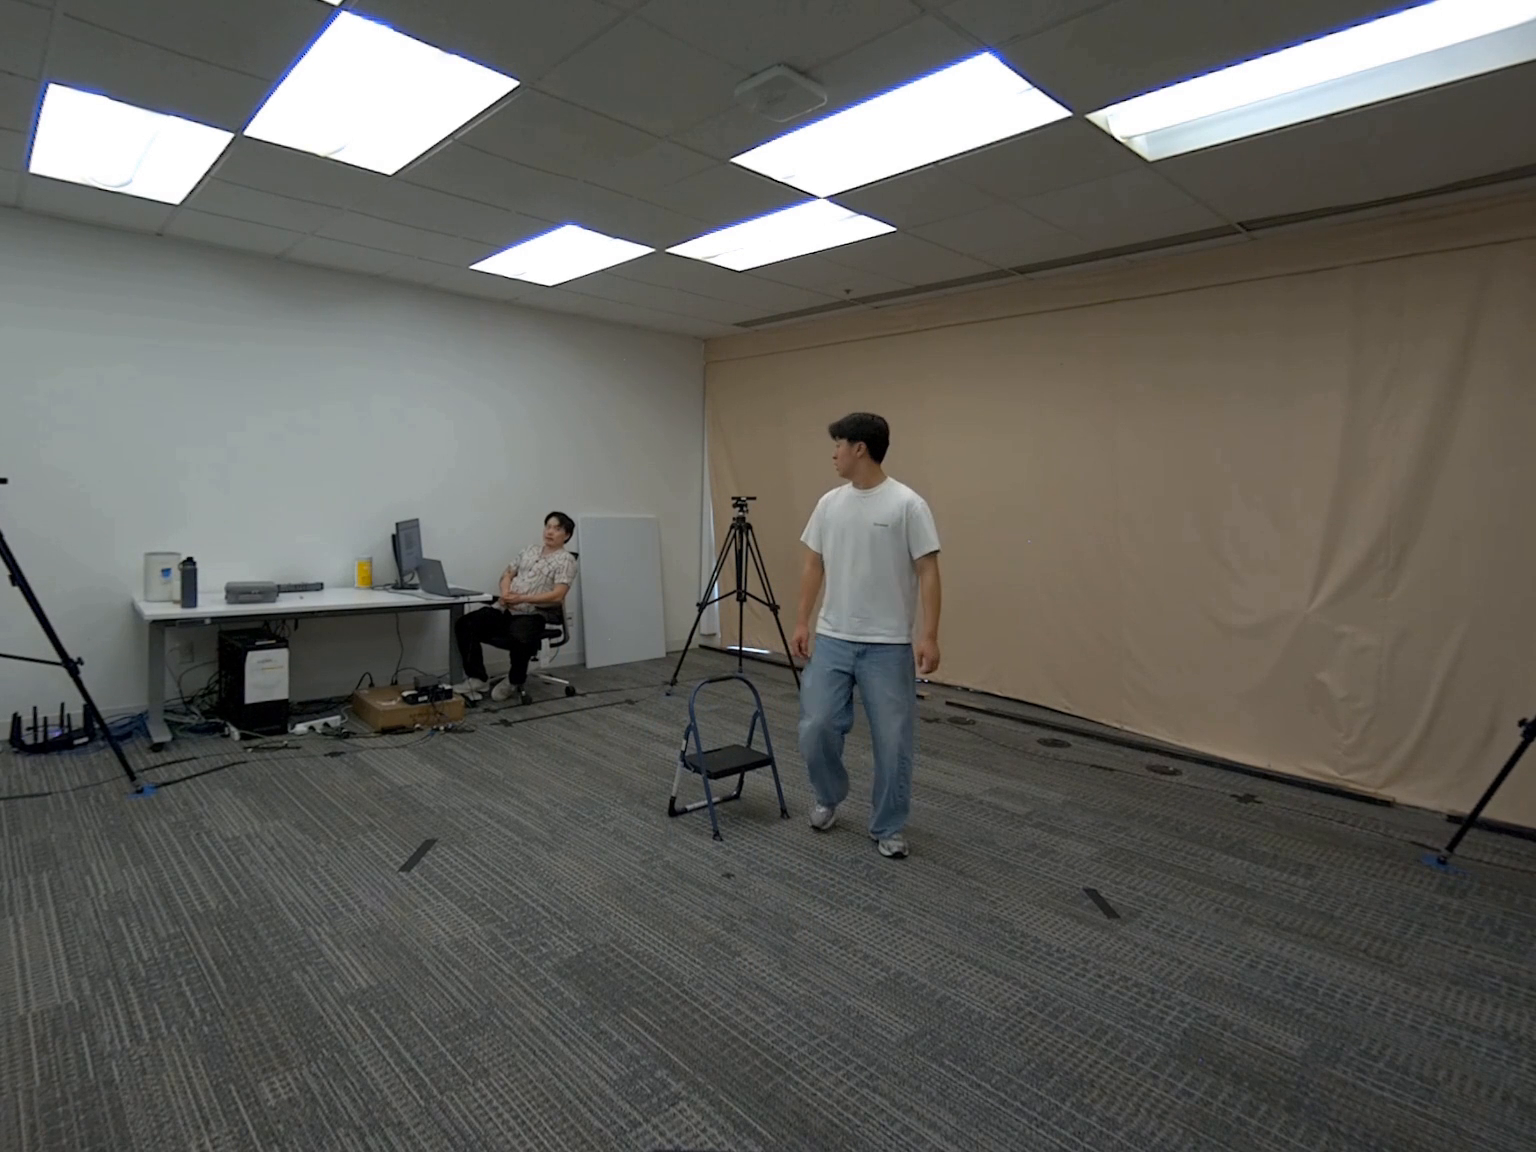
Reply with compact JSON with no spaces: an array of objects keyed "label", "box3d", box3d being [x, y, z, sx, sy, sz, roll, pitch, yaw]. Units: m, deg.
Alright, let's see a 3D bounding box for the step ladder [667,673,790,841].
[{"label":"step ladder","box3d":[-0.172,0.748,3.670,0.421,0.604,0.358,-2,5,-43]}]
